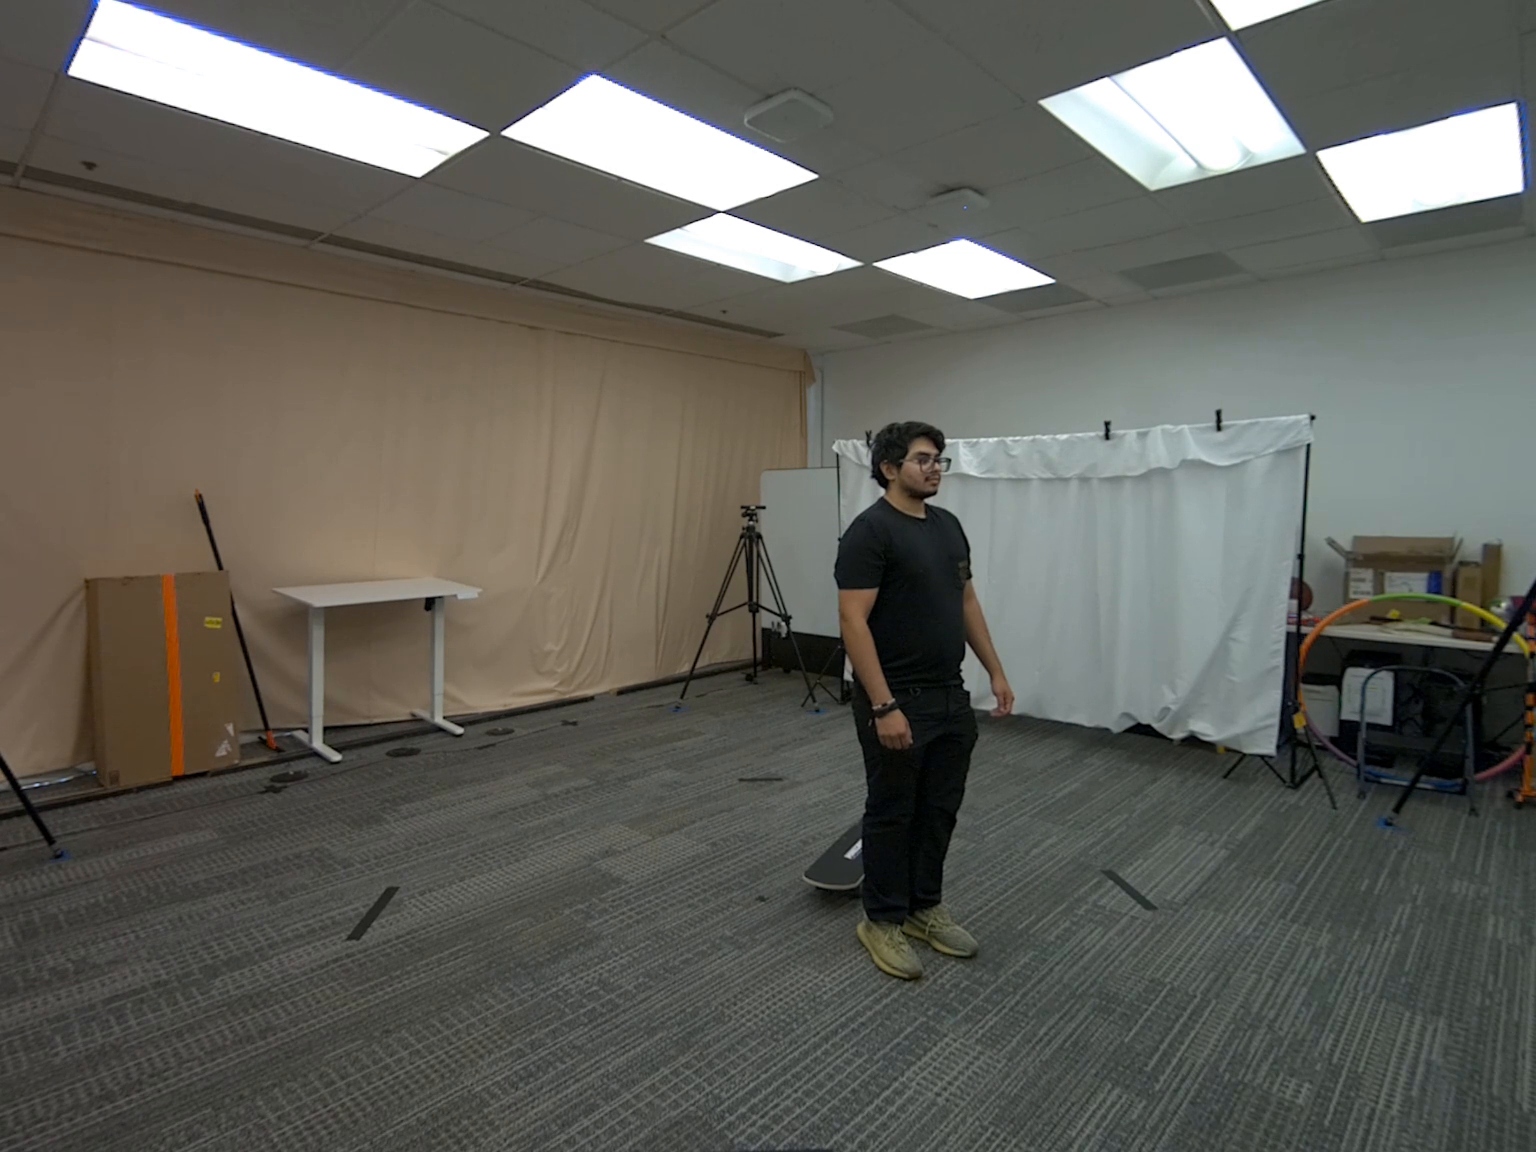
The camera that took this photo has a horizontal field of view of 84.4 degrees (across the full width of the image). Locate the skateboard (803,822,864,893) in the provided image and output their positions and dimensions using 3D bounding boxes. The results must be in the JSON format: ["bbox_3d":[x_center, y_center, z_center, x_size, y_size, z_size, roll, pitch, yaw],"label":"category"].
[{"bbox_3d":[0.348,1.066,3.198,0.199,0.110,0.766,3,5,26],"label":"skateboard"}]
